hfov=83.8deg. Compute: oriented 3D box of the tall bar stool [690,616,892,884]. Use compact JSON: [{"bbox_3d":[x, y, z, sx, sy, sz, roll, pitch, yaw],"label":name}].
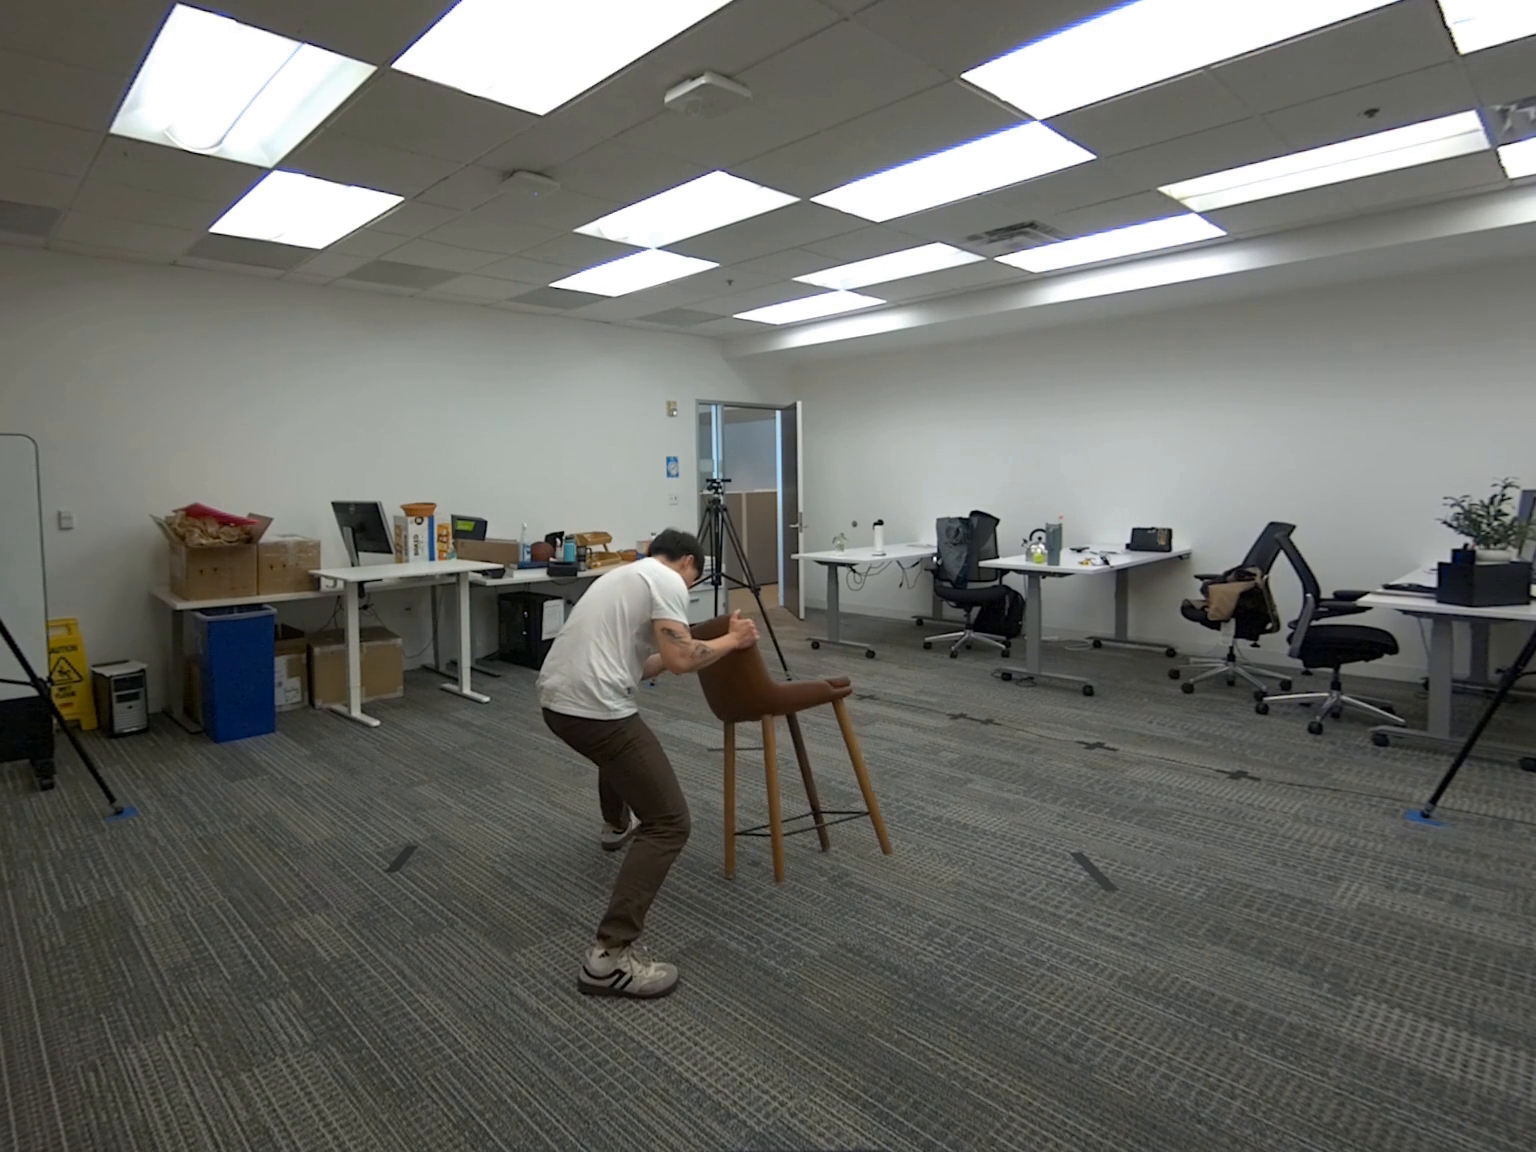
[{"bbox_3d":[0.046,0.575,3.041,0.457,0.901,0.461,-5,-13,-30],"label":"tall bar stool"}]
